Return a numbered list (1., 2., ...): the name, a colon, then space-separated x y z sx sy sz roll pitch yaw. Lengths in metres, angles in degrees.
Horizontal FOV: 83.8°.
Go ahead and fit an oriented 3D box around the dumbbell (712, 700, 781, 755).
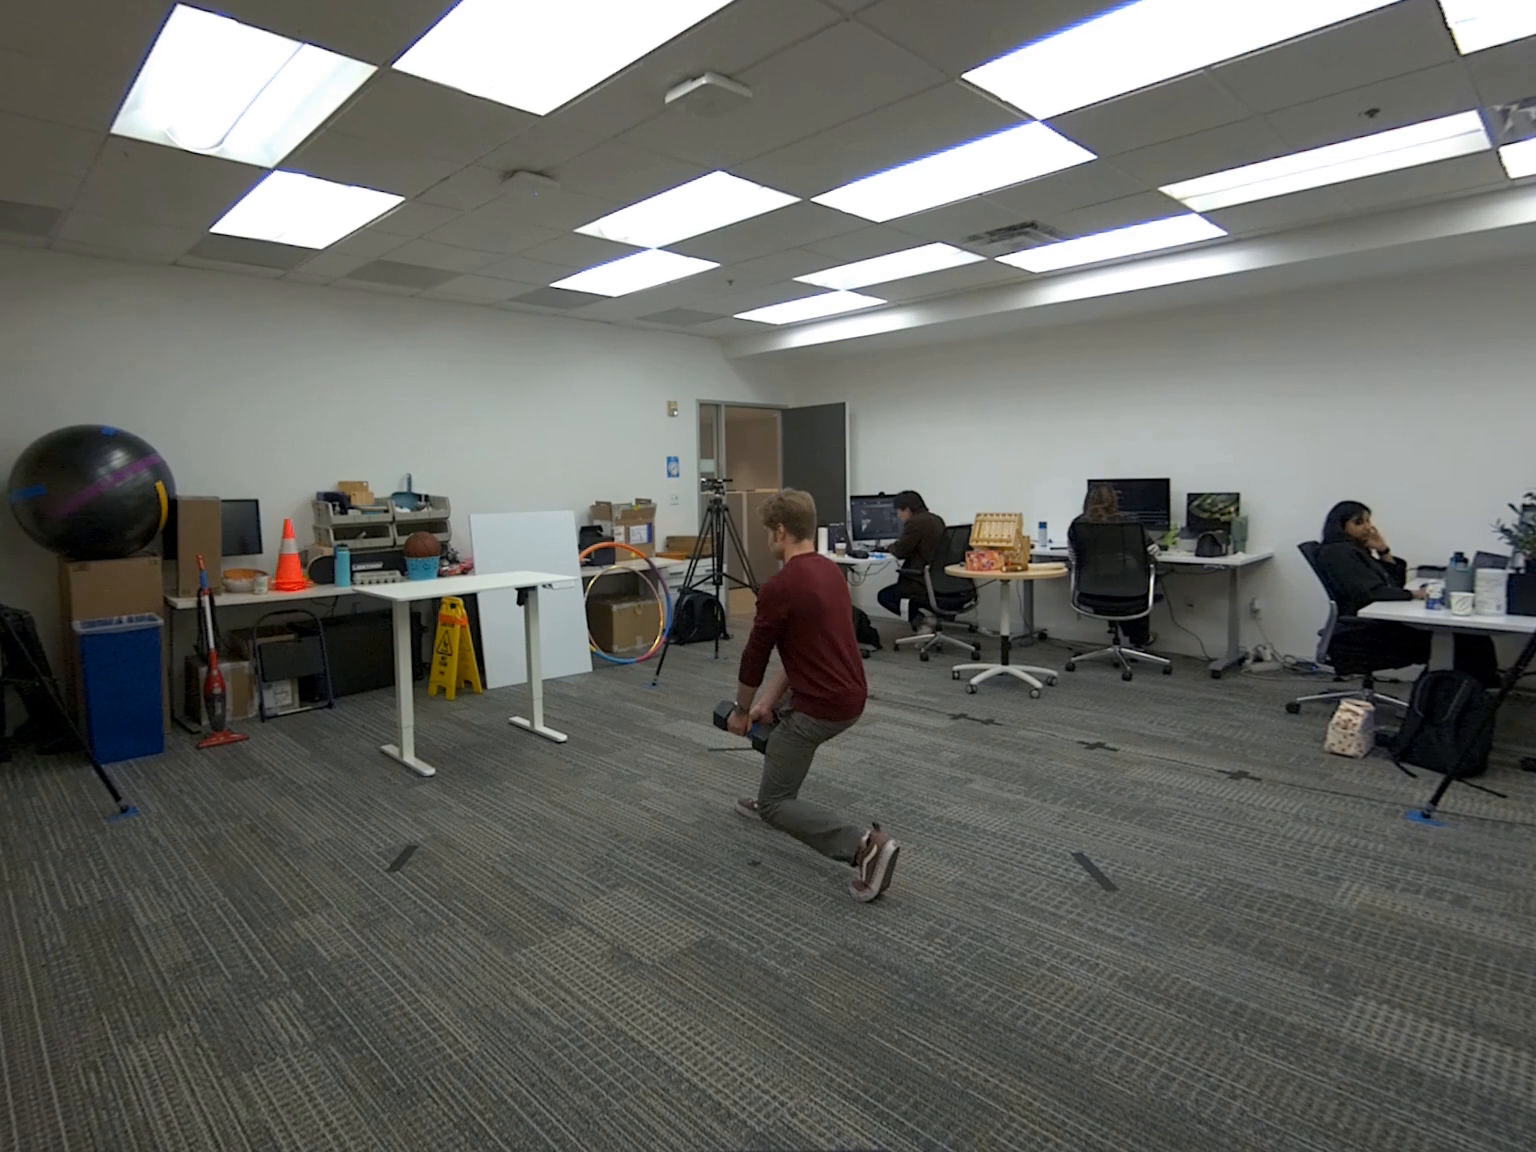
1. dumbbell: -0.076 0.589 3.362 0.304 0.105 0.123 23 59 39
